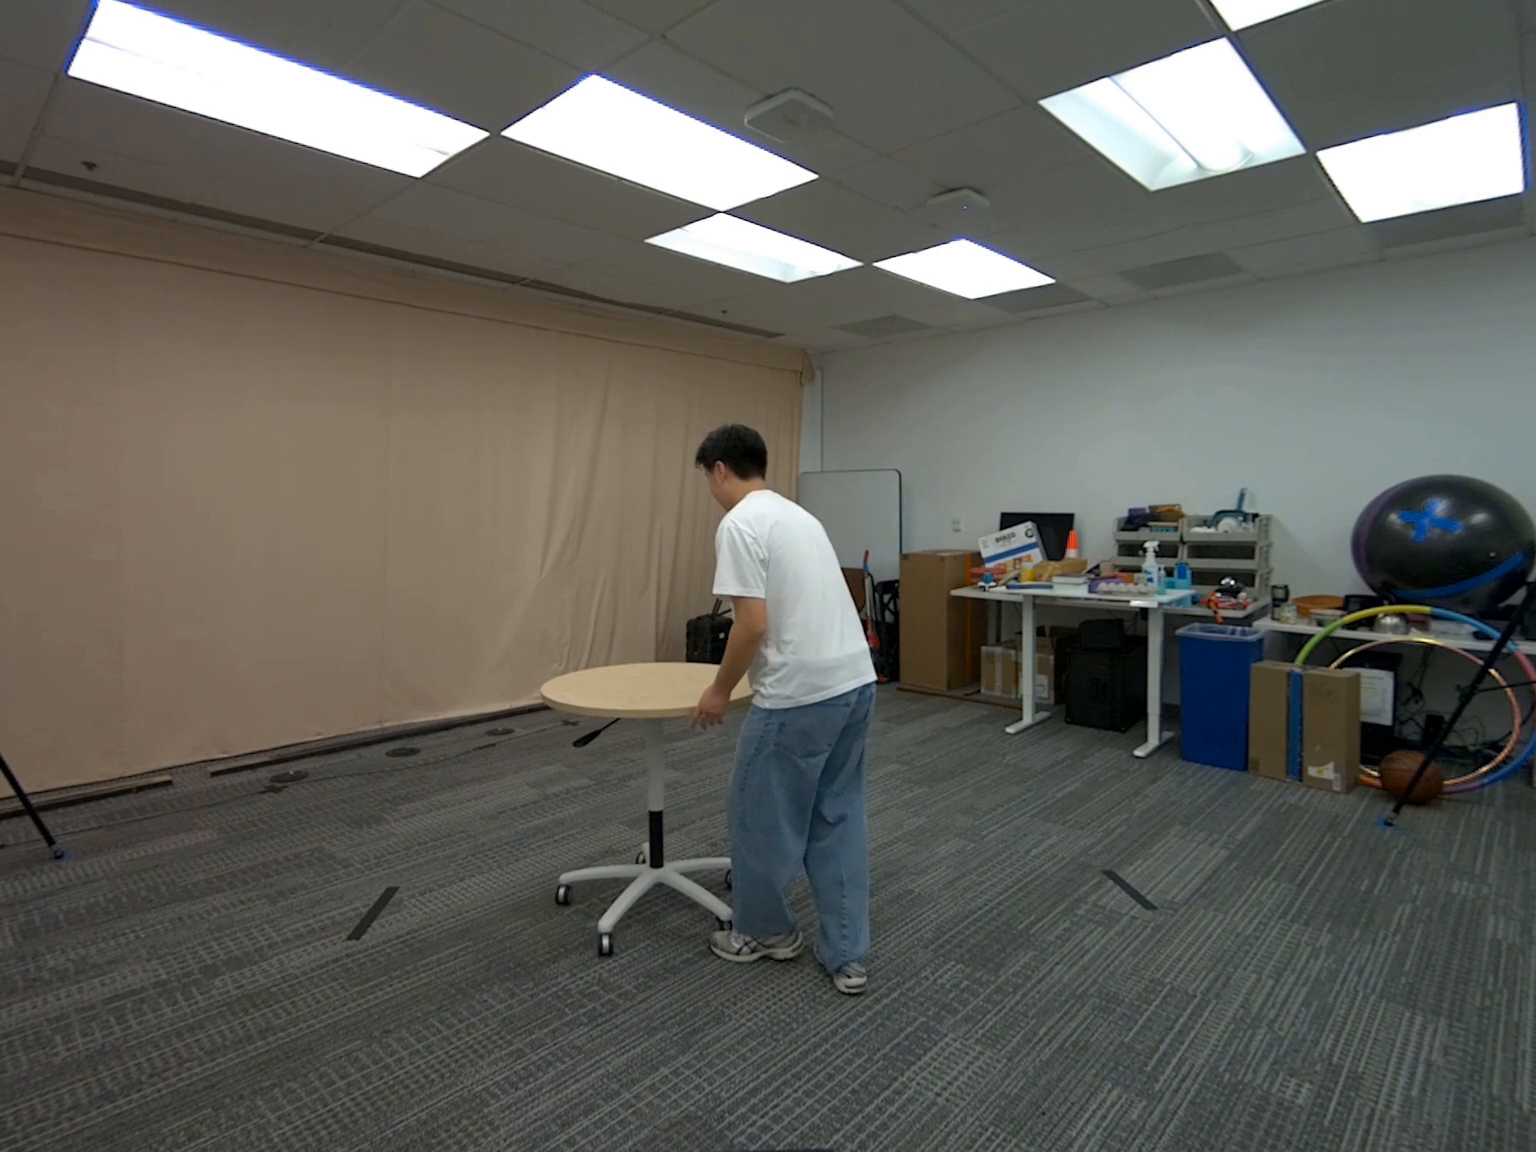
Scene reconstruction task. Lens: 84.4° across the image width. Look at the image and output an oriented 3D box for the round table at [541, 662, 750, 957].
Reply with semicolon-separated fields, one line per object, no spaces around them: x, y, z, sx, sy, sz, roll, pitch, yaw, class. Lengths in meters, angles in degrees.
-0.403;0.760;2.919;0.784;0.785;0.787;0;3;-2;round table
